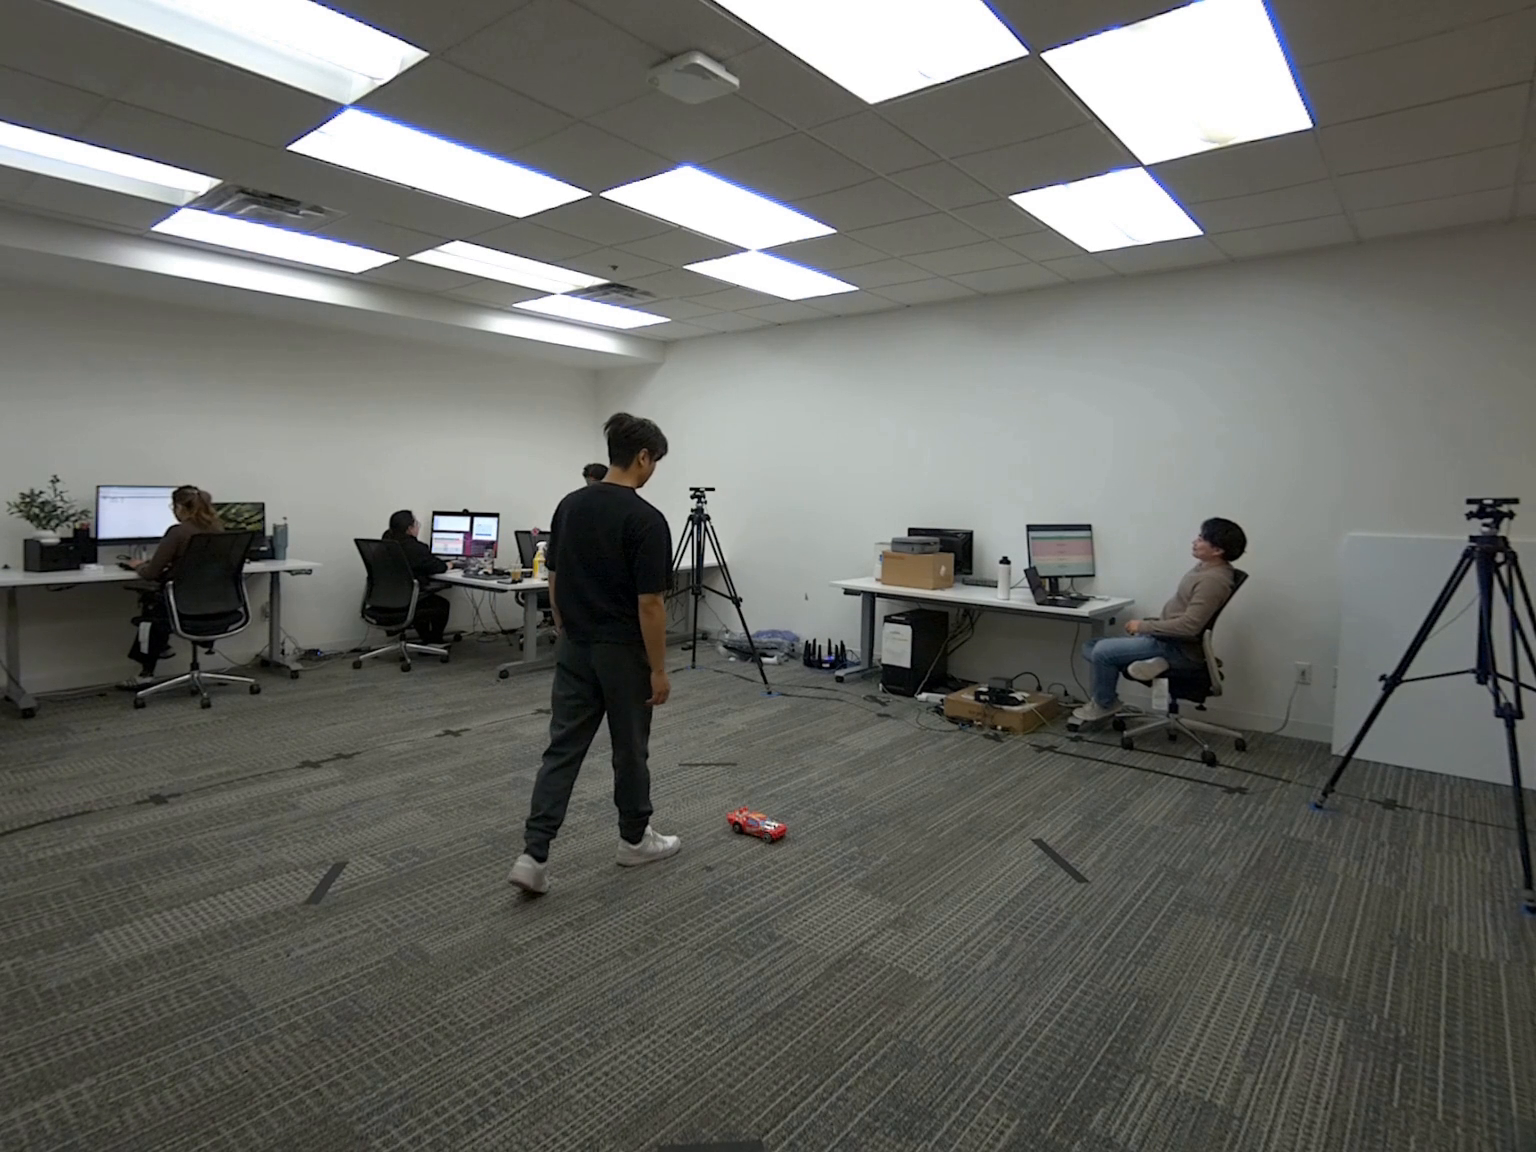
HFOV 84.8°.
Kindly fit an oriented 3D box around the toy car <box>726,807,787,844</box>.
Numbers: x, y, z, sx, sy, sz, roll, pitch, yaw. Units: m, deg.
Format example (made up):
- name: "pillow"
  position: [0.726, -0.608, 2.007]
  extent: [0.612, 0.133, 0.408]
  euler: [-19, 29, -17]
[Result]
- name: "toy car"
  position: [-0.062, 1.003, 3.443]
  extent: [0.264, 0.082, 0.127]
  euler: [17, 14, 34]
